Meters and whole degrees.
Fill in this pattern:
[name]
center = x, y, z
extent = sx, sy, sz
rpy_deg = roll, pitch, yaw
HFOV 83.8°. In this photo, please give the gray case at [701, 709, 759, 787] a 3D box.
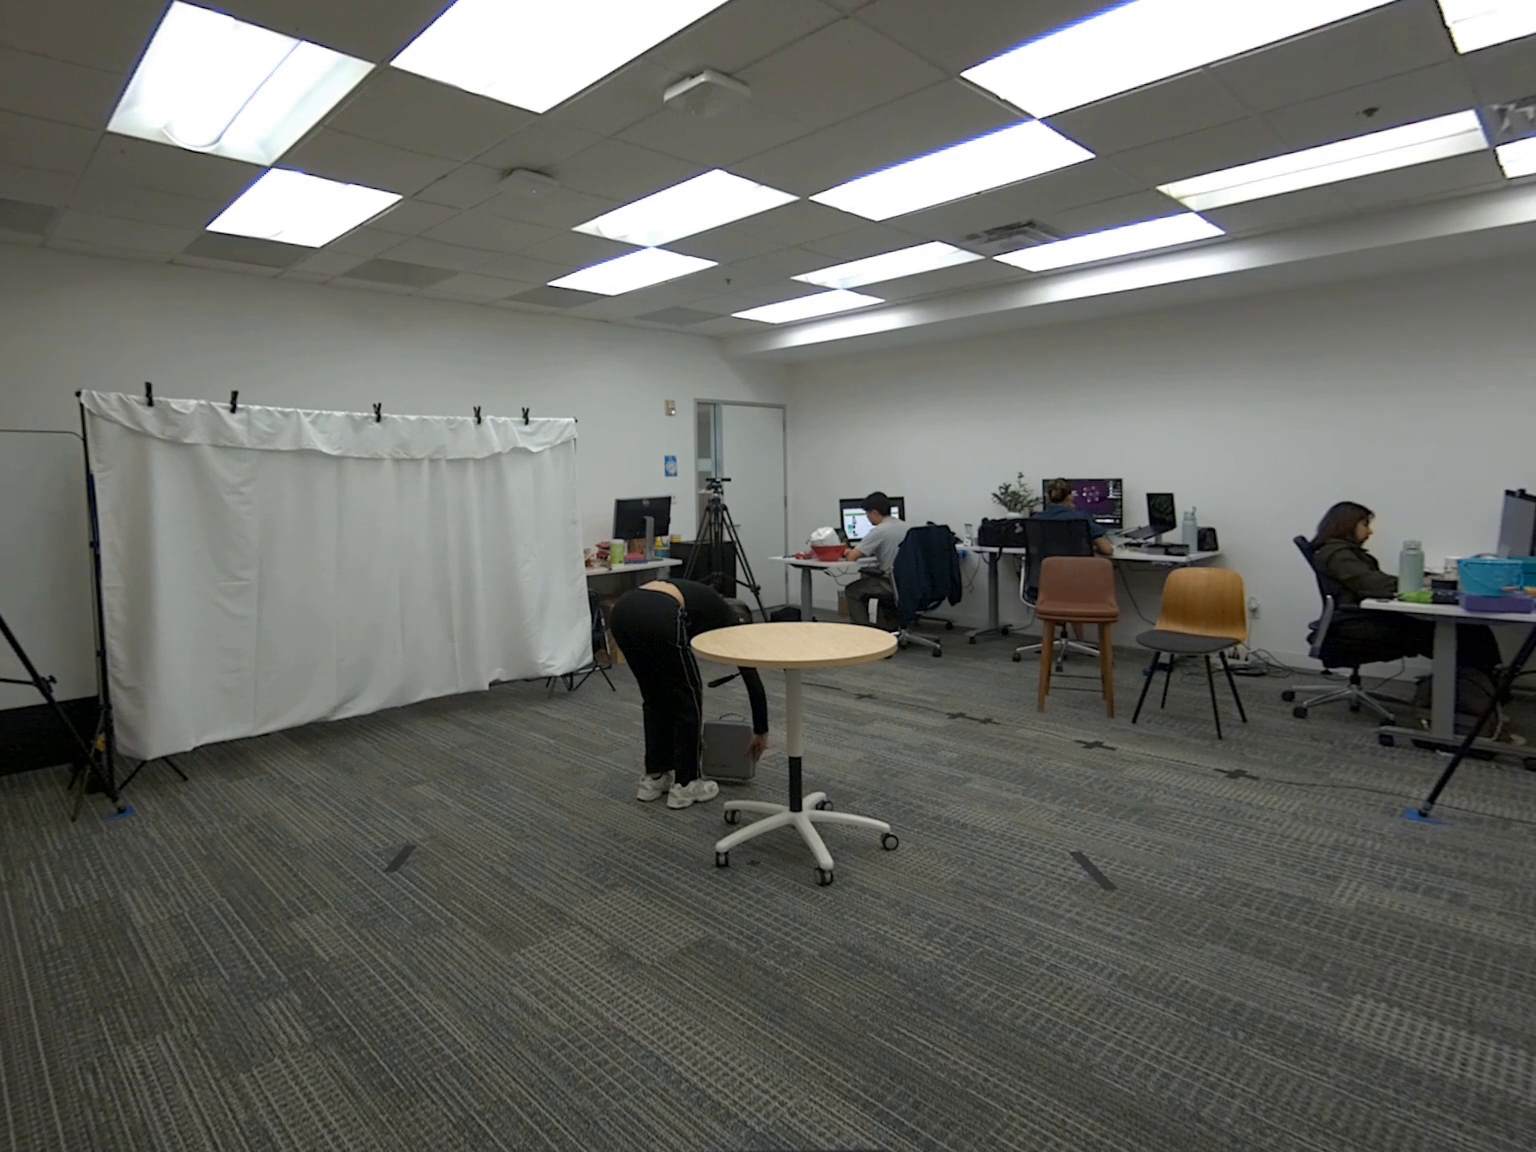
[gray case]
center = -0.183, 0.790, 3.951
extent = 0.261, 0.261, 0.102
rpy_deg = 0, -3, 18
